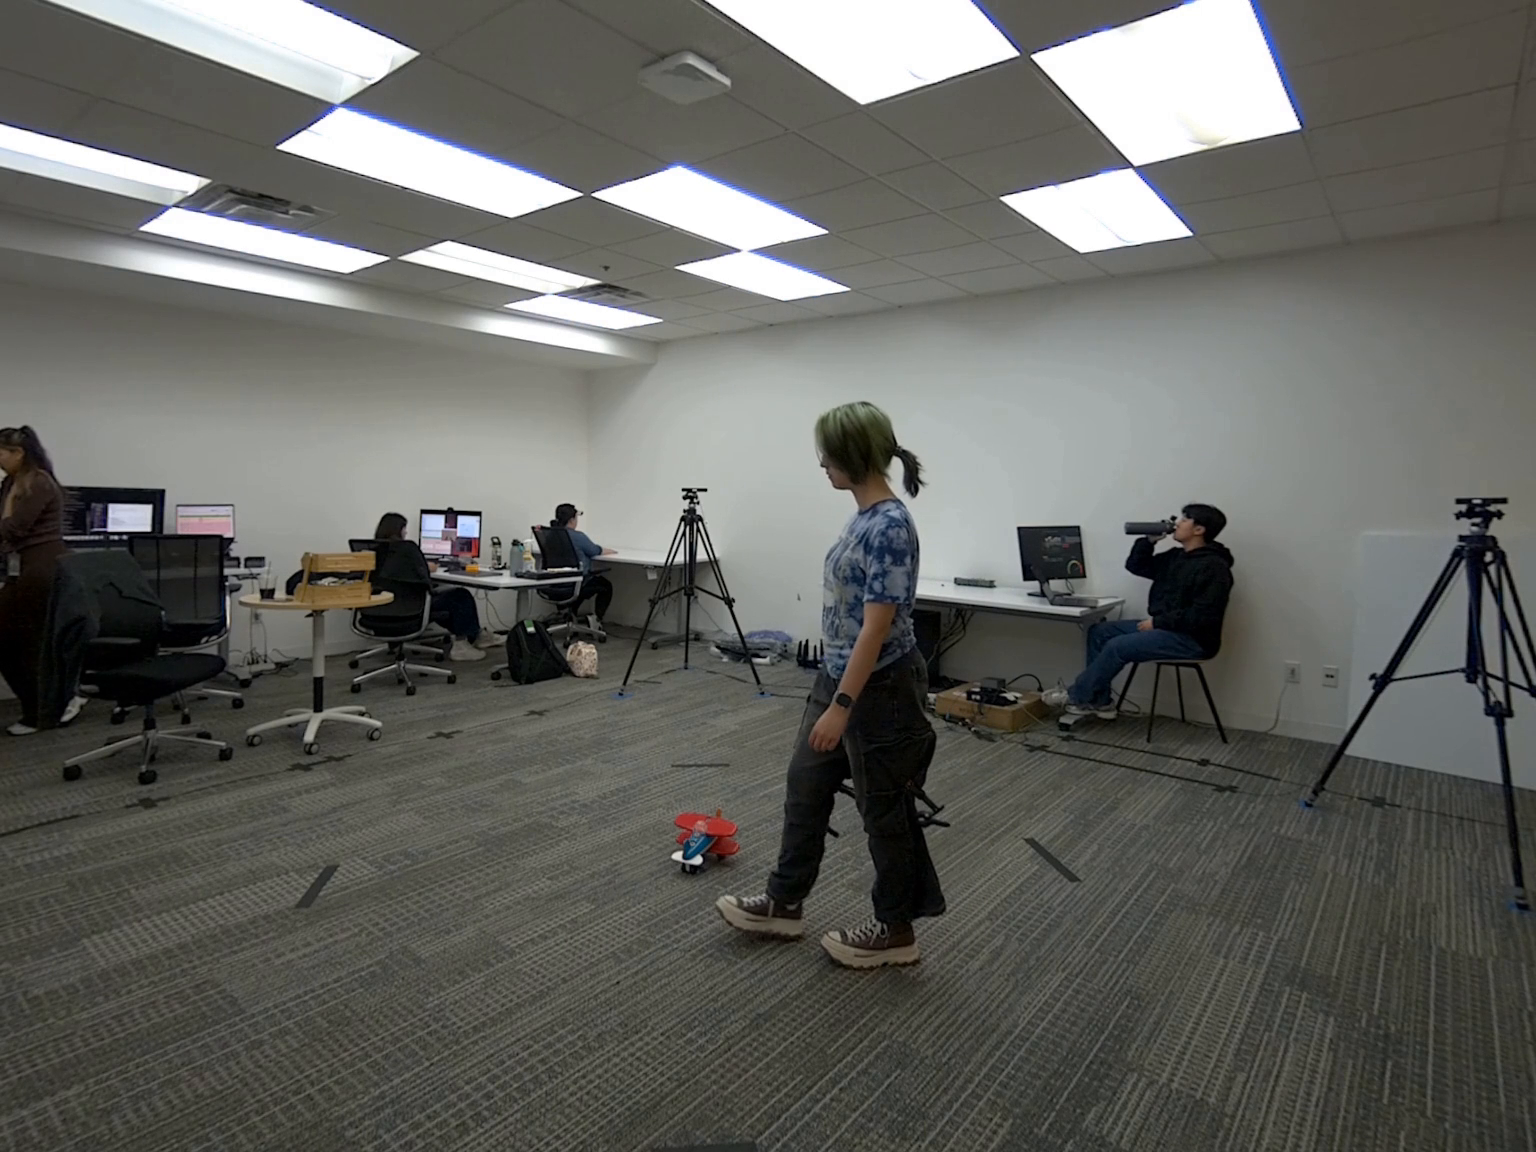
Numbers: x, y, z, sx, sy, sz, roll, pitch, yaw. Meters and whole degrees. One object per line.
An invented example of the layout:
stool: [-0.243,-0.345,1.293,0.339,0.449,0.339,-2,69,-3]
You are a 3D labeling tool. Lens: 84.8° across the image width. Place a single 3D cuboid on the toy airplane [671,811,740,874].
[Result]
toy airplane: [-0.239,0.988,3.150,0.251,0.156,0.260,0,3,-2]
